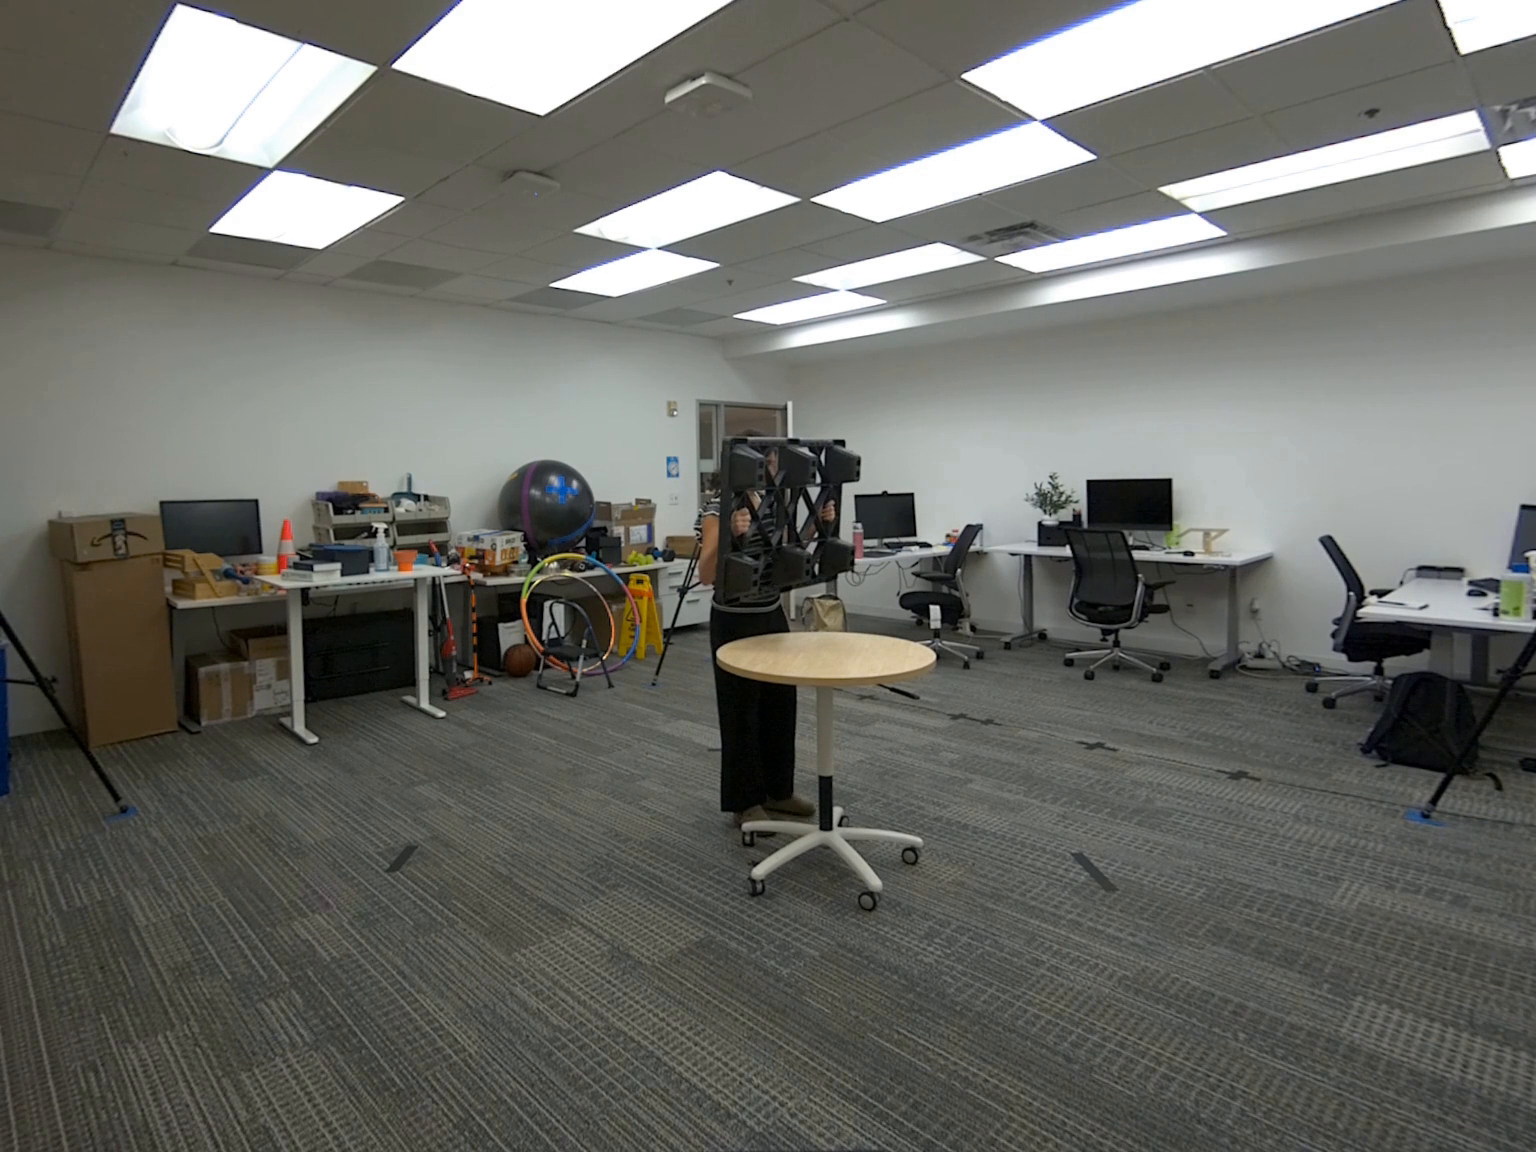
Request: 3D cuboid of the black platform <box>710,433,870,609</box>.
[{"bbox_3d":[0.105,-0.231,3.275,0.148,0.600,0.786,10,11,35],"label":"black platform"}]
